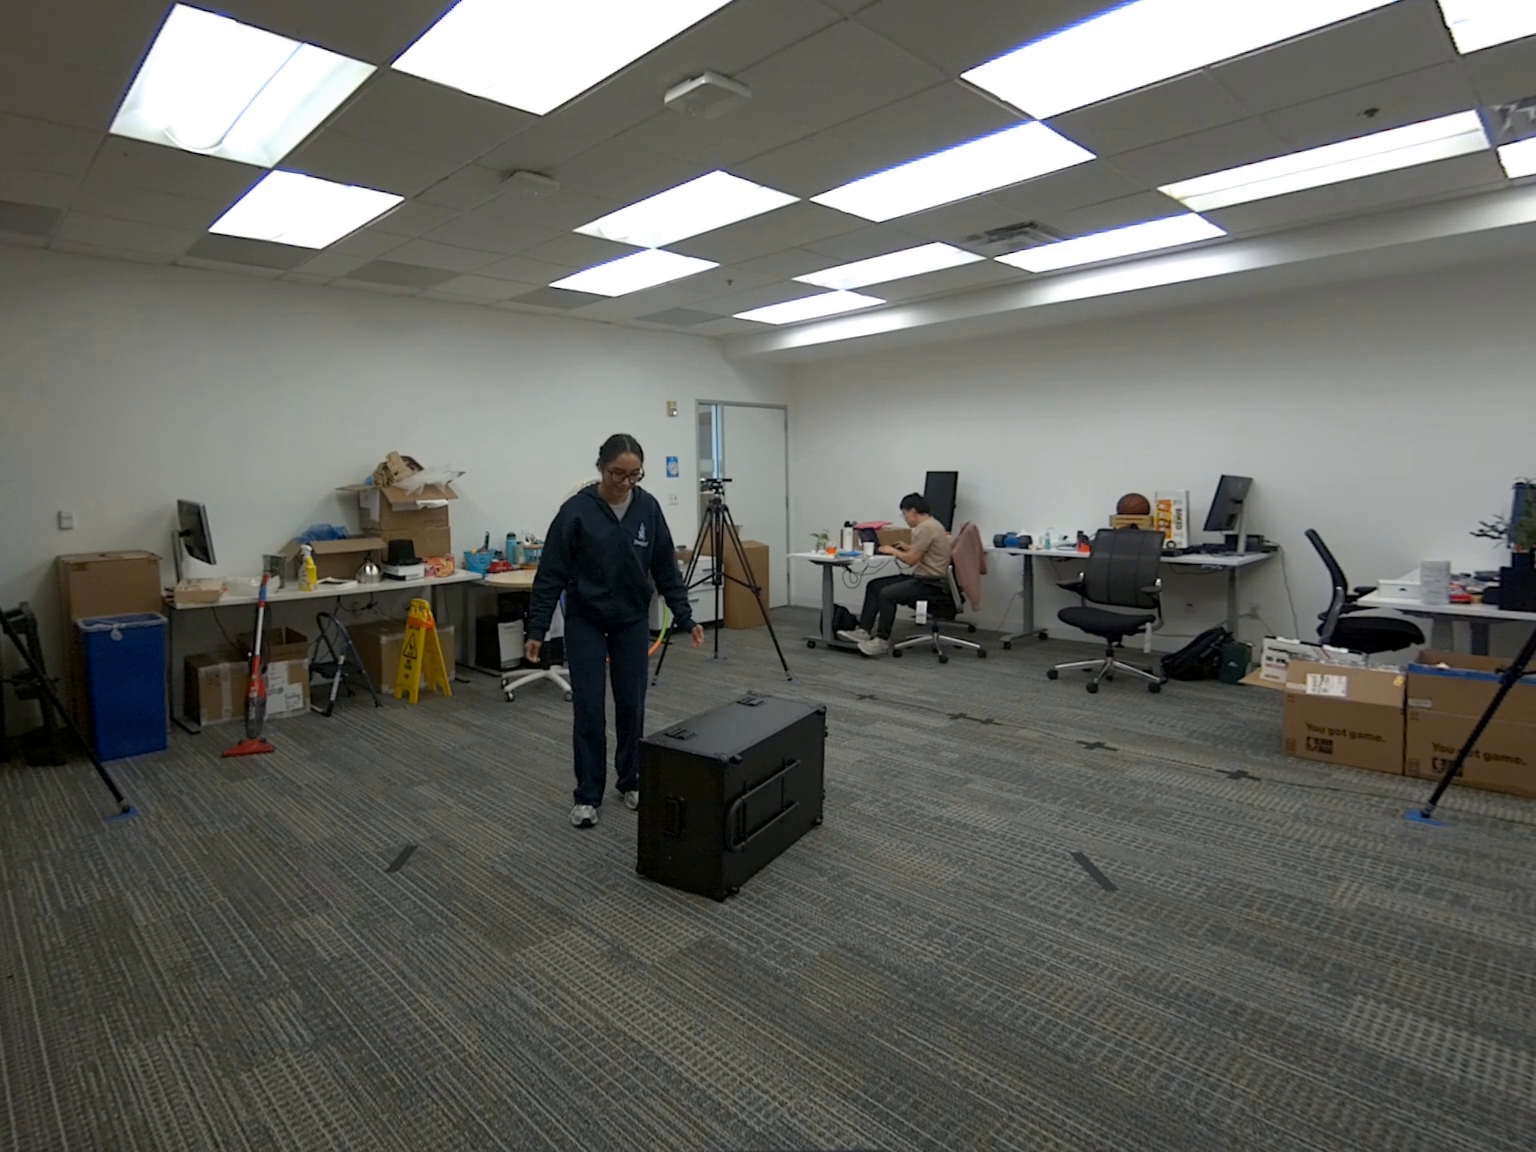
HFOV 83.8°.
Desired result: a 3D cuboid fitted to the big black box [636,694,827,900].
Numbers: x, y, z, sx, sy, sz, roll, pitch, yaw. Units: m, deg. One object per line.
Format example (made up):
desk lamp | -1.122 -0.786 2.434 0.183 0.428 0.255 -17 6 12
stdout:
big black box | -0.085 0.775 3.231 0.407 0.518 0.843 5 8 29
